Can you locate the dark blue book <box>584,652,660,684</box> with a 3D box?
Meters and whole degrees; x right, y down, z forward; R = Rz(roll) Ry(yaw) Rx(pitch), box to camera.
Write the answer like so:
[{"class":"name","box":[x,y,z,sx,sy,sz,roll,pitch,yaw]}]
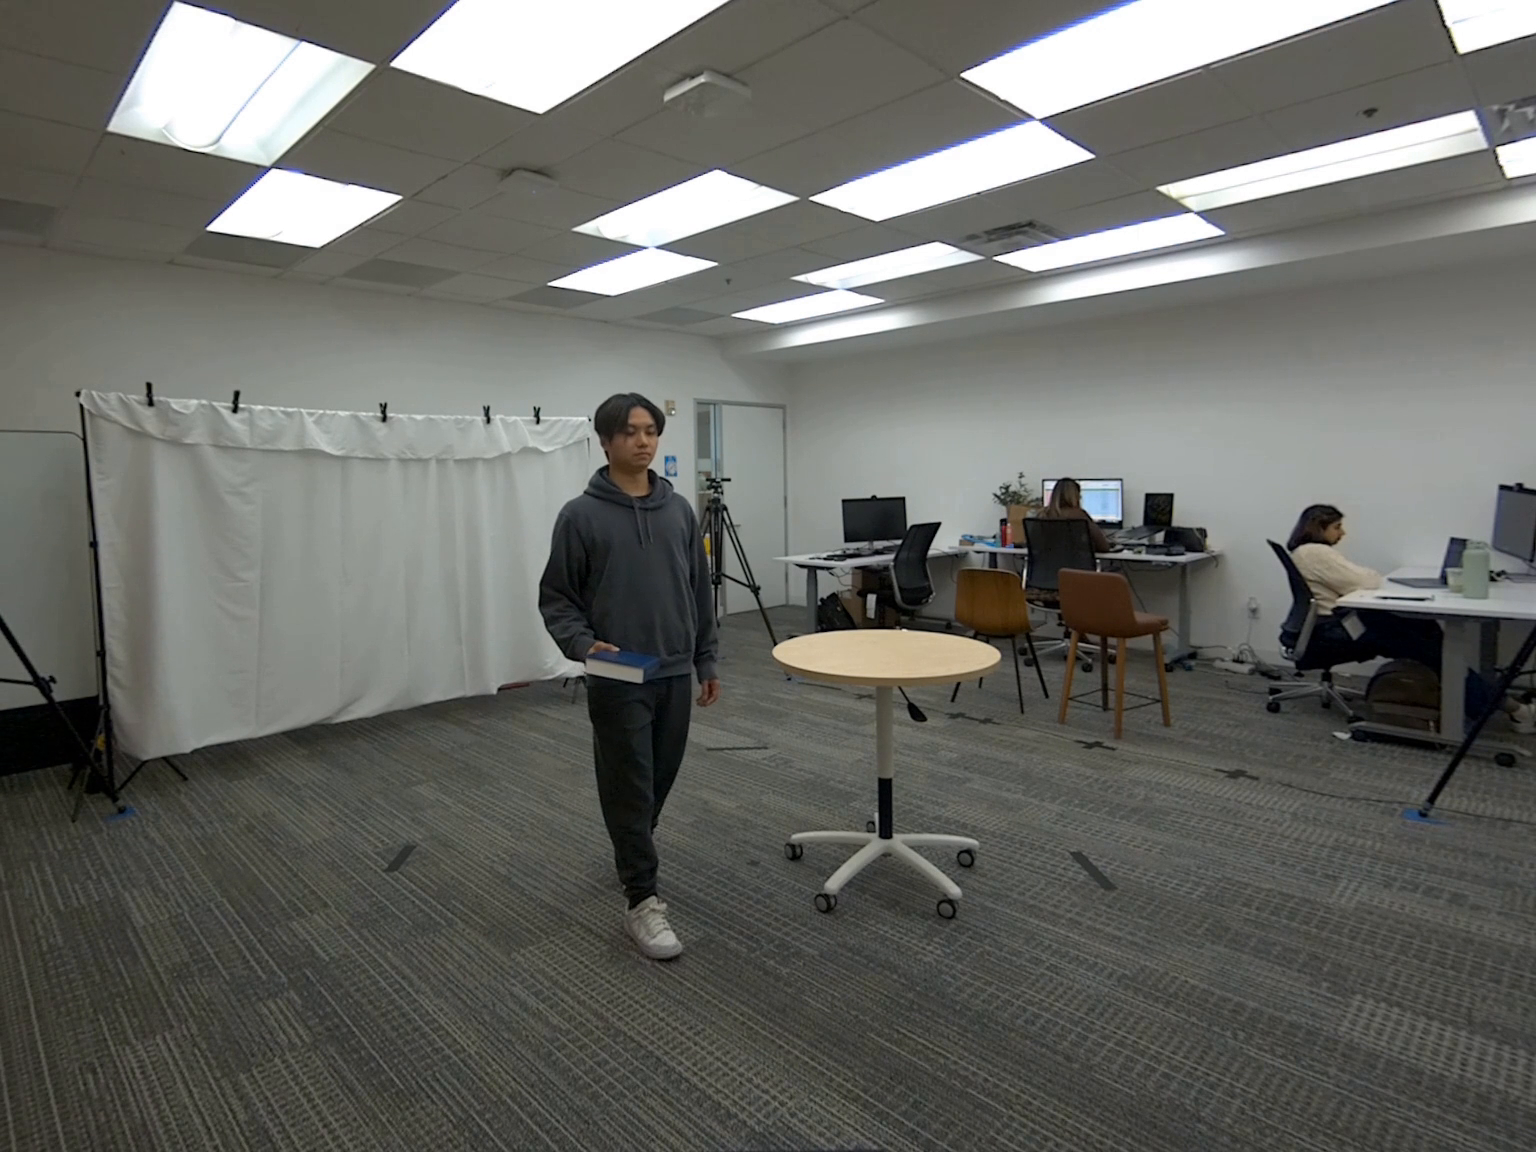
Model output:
[{"class":"dark blue book","box":[-0.395,0.247,2.323,0.165,0.045,0.243,9,2,7]}]
